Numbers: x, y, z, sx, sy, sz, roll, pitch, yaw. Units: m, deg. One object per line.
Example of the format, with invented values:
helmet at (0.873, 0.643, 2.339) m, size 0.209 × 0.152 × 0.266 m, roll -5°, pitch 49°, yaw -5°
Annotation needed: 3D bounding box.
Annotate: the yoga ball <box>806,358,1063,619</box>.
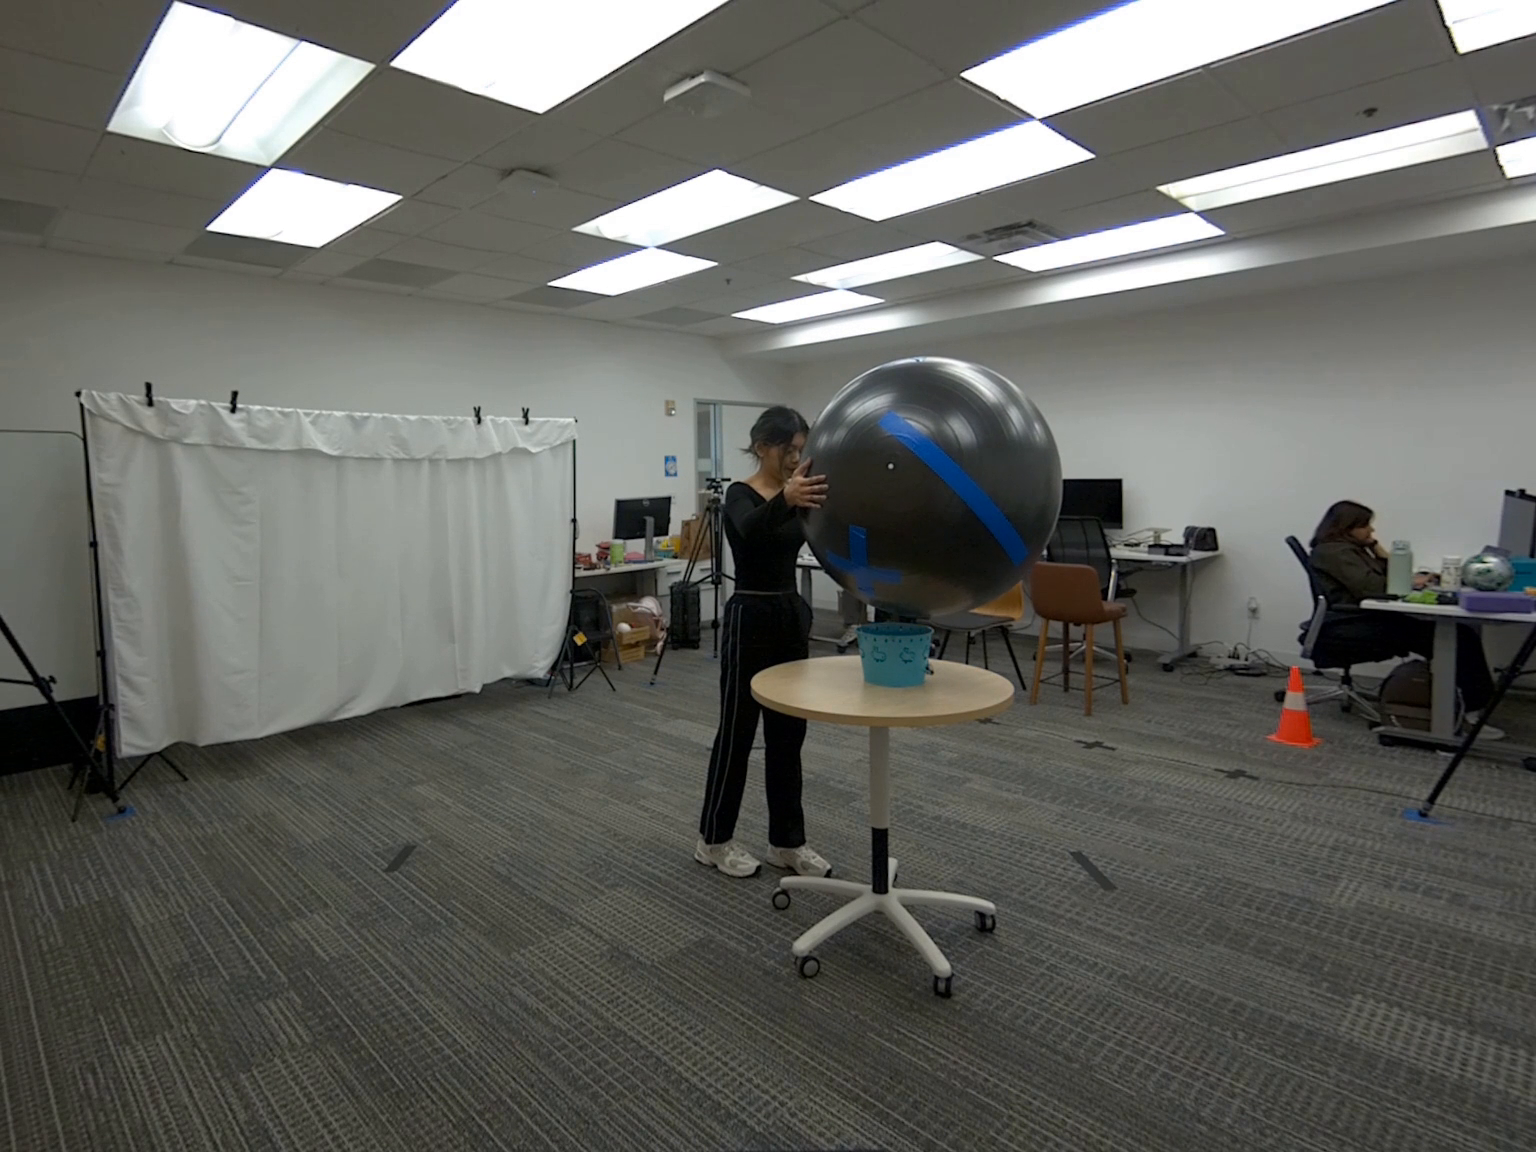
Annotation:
yoga ball at (0.469, -0.252, 2.495) m, size 0.757 × 0.755 × 0.762 m, roll -1°, pitch 5°, yaw -2°
